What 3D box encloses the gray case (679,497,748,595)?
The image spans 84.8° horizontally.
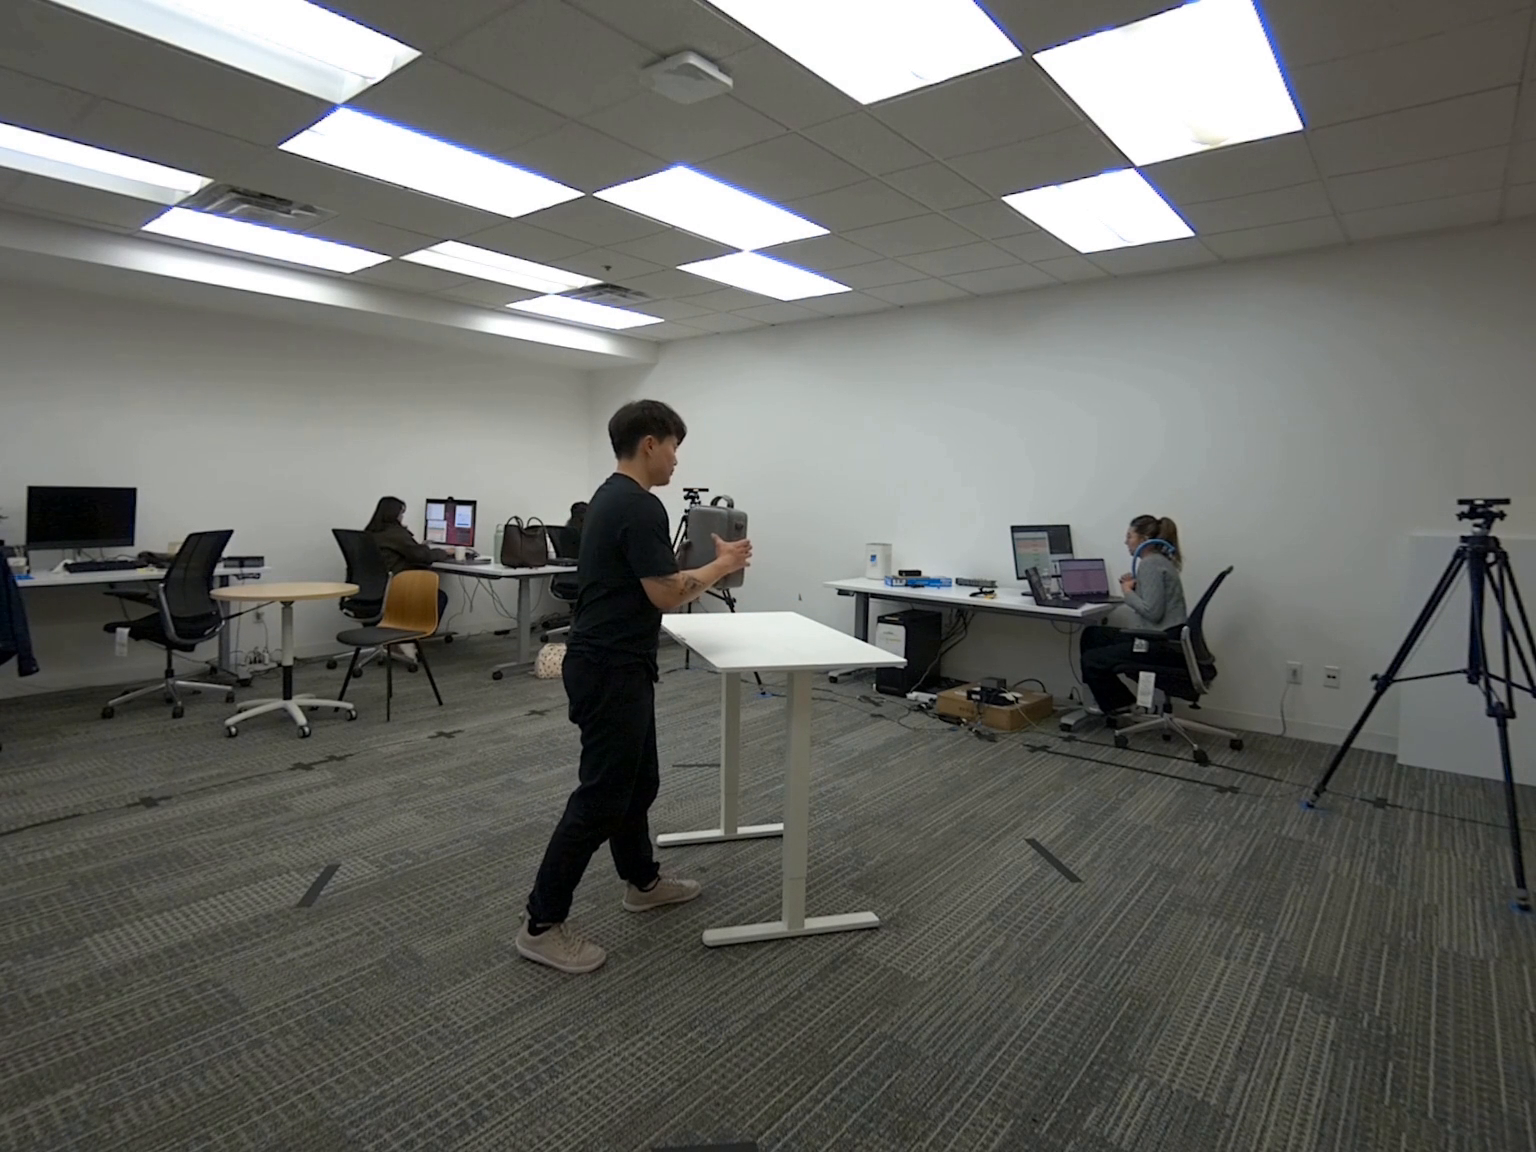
[{"bbox_3d":[-0.182,-0.100,2.743,0.101,0.260,0.265,5,4,-30],"label":"gray case"}]
